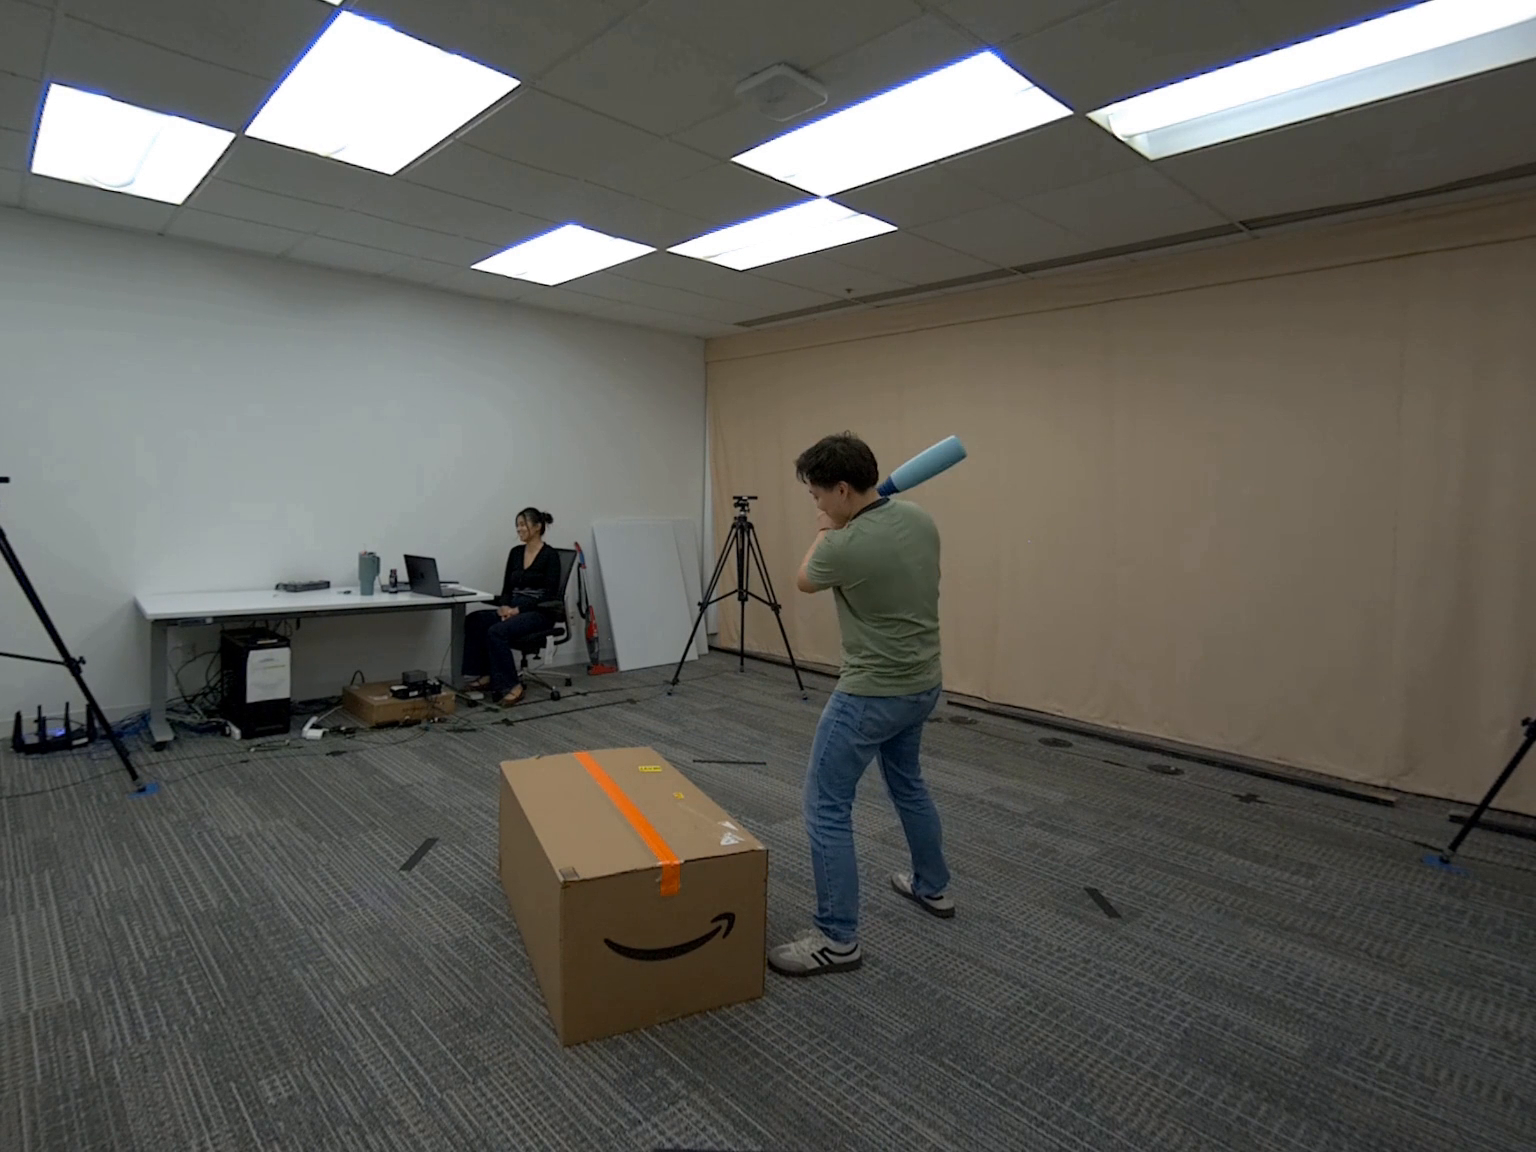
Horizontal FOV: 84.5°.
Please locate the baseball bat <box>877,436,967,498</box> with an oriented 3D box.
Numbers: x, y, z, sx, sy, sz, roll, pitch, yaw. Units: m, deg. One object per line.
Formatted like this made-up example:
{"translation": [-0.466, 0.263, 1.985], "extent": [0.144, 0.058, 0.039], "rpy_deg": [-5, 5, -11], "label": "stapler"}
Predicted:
{"translation": [0.372, -0.298, 2.821], "extent": [0.546, 0.090, 0.088], "rpy_deg": [-31, -9, 22], "label": "baseball bat"}
